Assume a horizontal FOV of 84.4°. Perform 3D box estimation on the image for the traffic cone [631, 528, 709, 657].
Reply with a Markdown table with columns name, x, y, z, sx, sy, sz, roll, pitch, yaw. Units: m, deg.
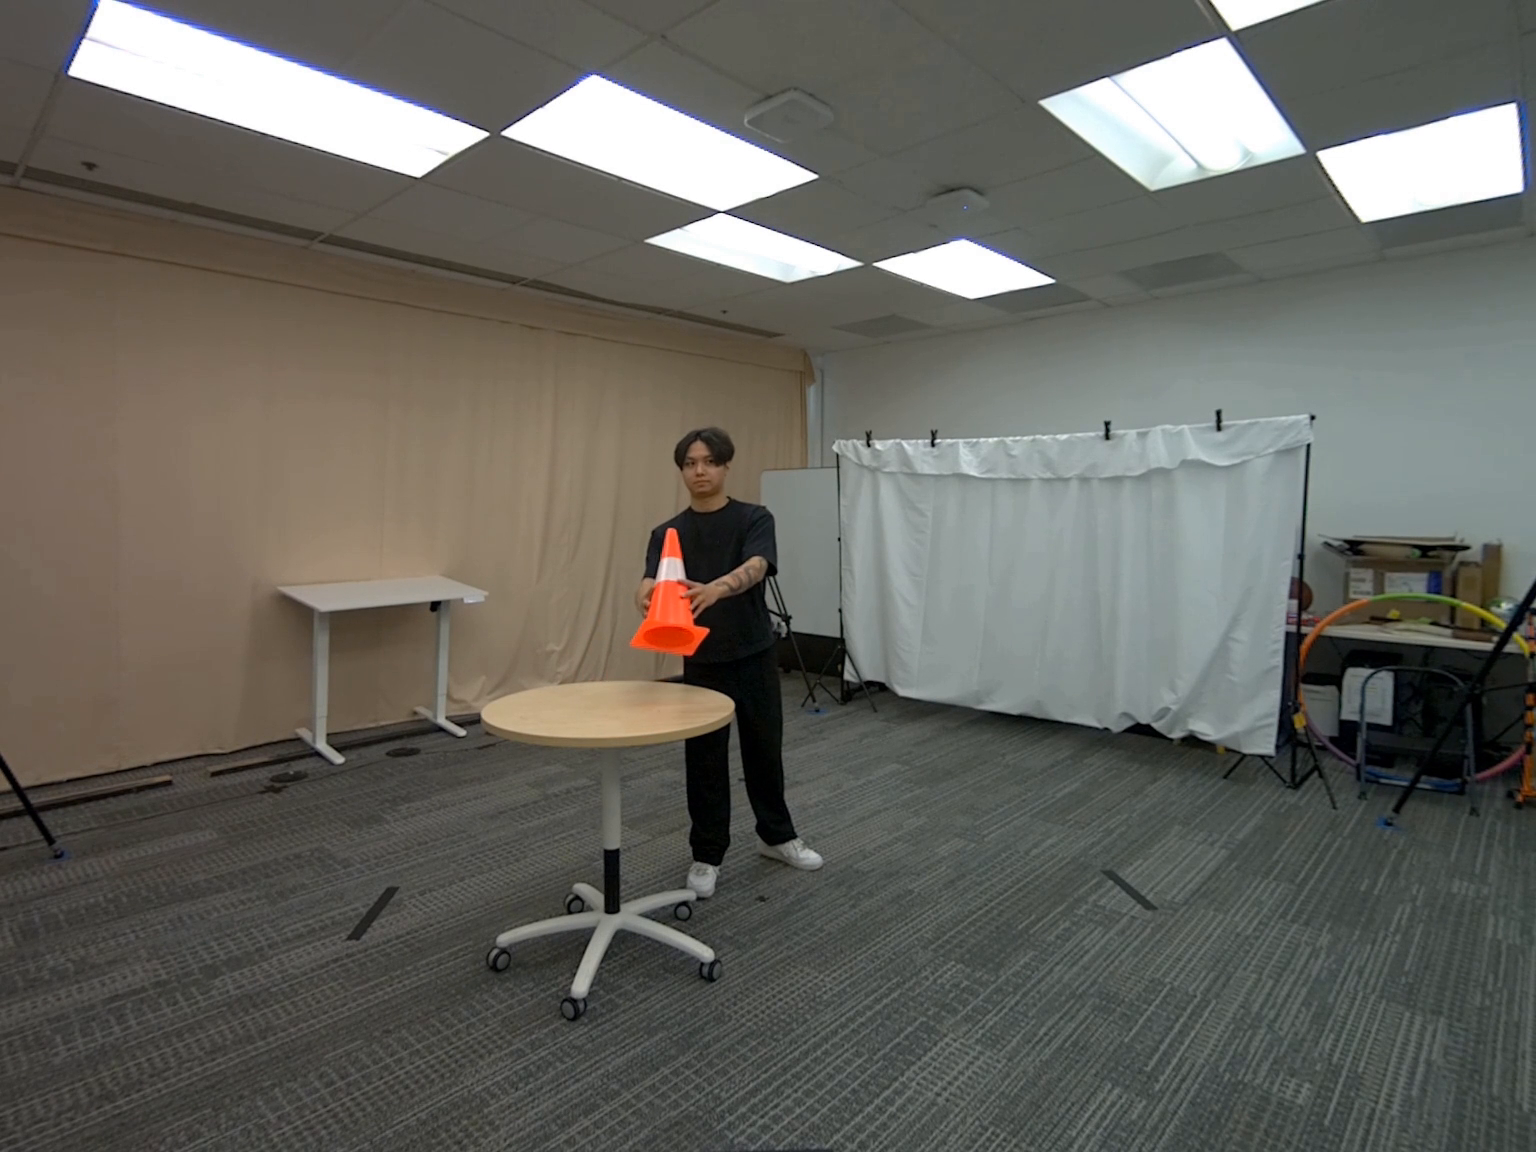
| name | x | y | z | sx | sy | sz | roll | pitch | yaw |
| --- | --- | --- | --- | --- | --- | --- | --- | --- | --- |
| traffic cone | -0.295 | 0.021 | 2.603 | 0.199 | 0.390 | 0.206 | 13 | -35 | -20 |
